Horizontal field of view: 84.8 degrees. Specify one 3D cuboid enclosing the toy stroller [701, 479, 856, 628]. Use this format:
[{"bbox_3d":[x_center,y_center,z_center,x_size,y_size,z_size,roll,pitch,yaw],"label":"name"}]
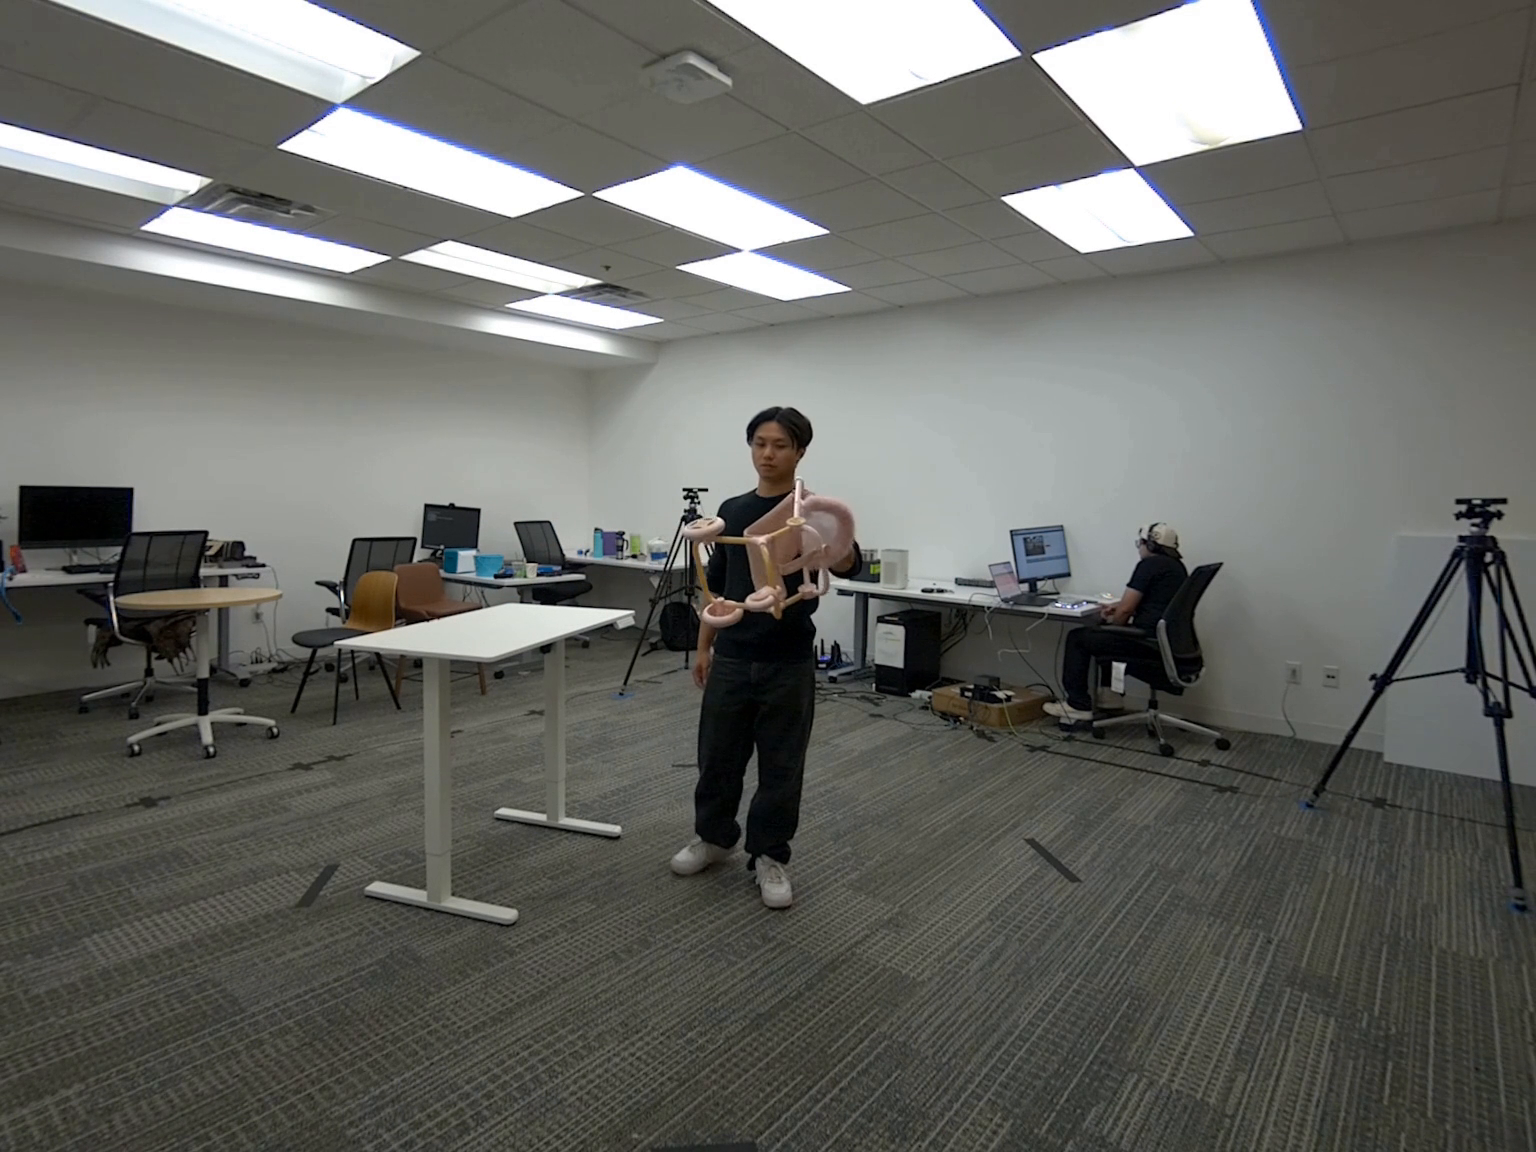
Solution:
[{"bbox_3d":[0.034,-0.064,2.221,0.528,0.275,0.354,-31,27,-36],"label":"toy stroller"}]
